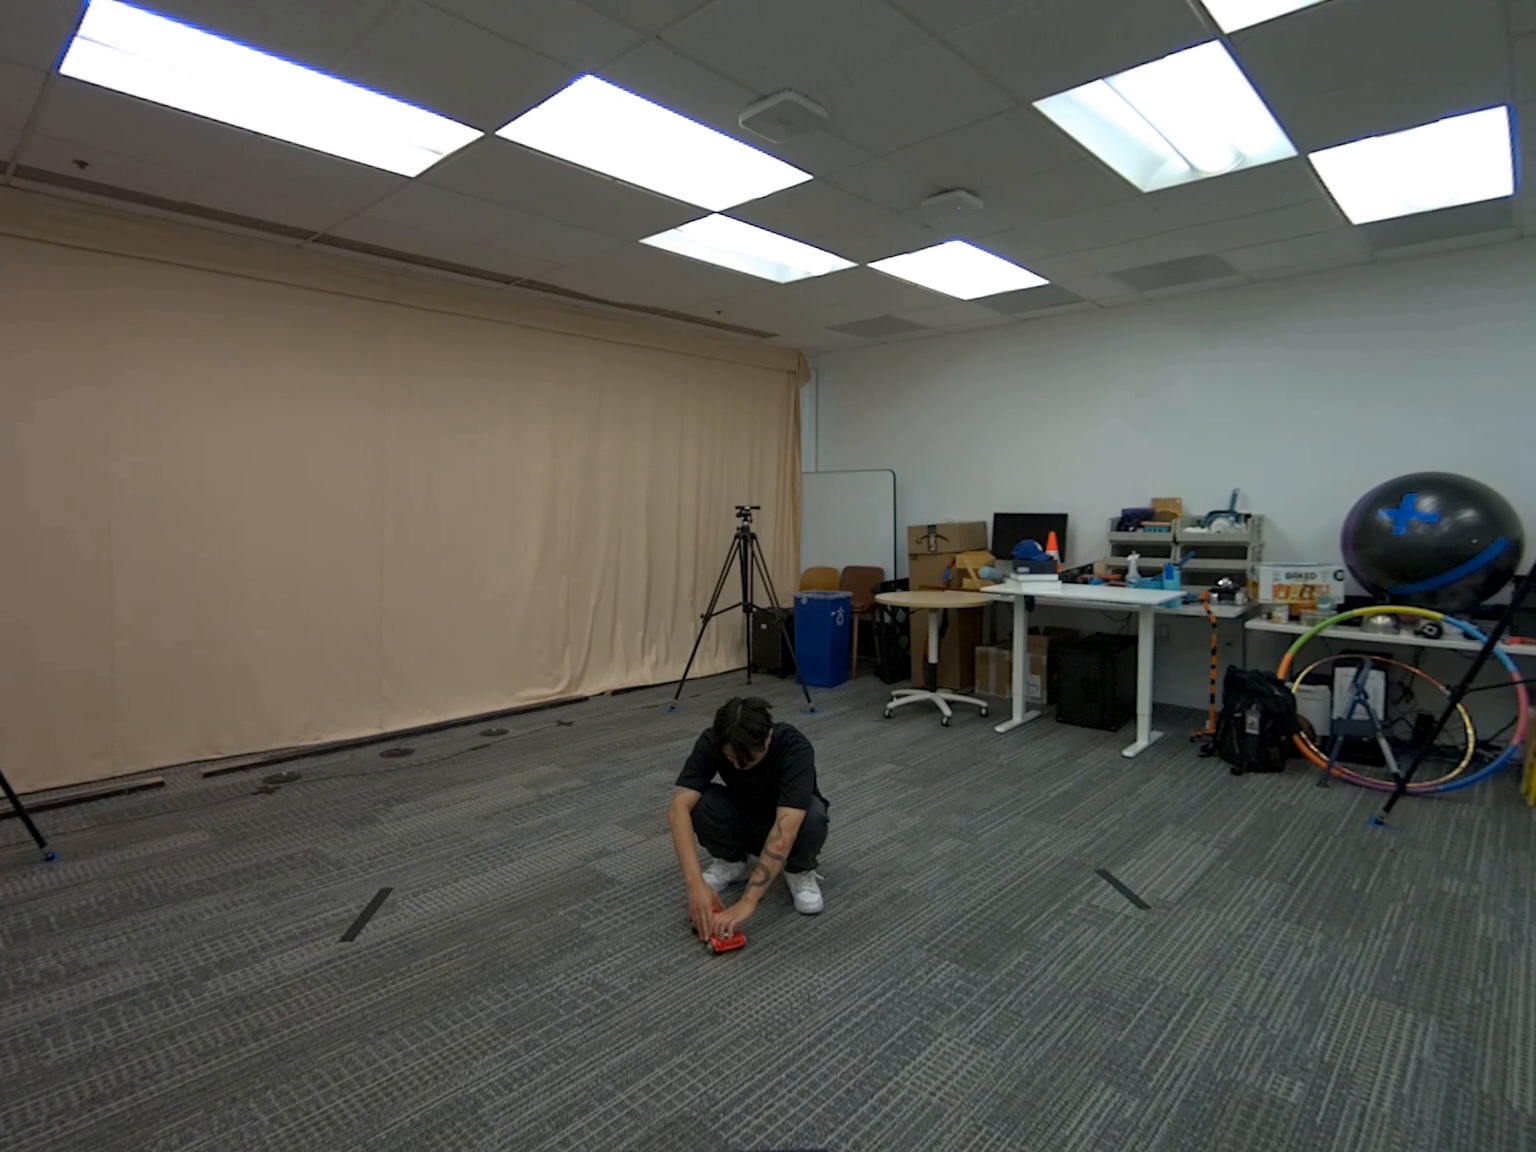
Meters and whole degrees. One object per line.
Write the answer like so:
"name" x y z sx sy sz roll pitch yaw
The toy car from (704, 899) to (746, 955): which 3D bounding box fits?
"toy car" -0.176 1.131 2.724 0.127 0.082 0.263 -3 18 -26
